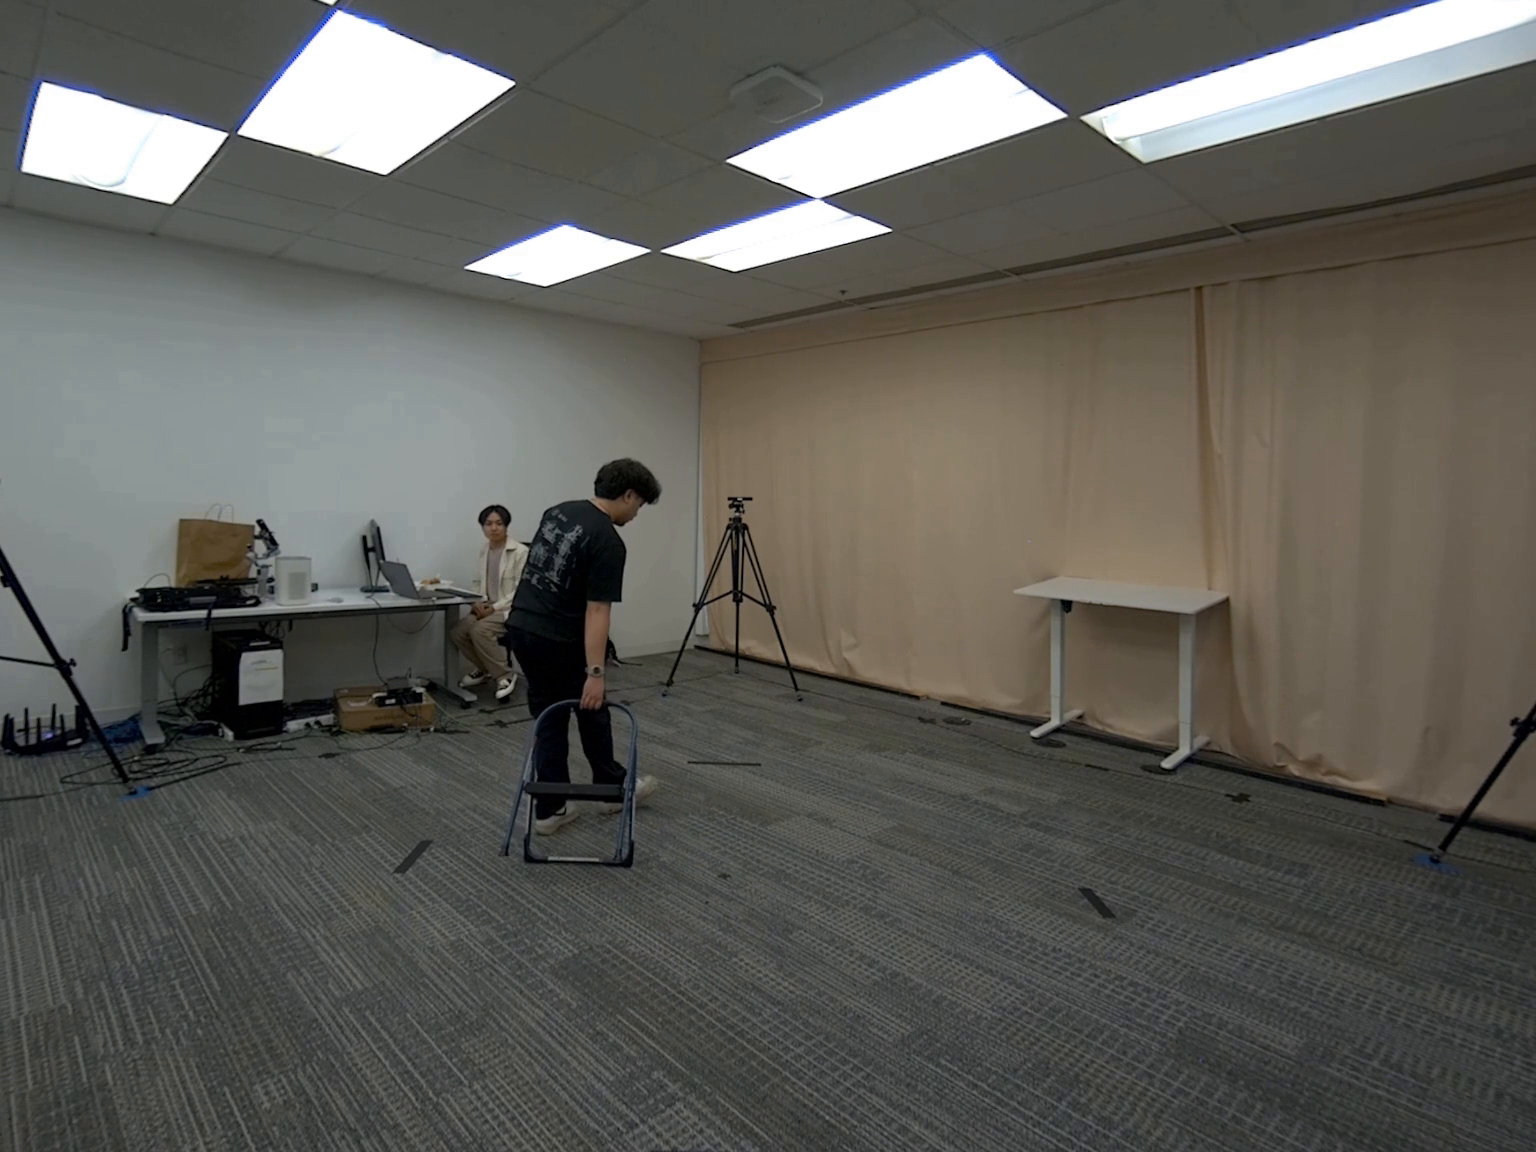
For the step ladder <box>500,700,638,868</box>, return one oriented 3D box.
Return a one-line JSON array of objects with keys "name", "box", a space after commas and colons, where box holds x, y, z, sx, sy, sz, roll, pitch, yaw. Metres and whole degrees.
[{"name": "step ladder", "box": [-0.713, 0.754, 3.149, 0.431, 0.615, 0.343, 2, -24, 0]}]
